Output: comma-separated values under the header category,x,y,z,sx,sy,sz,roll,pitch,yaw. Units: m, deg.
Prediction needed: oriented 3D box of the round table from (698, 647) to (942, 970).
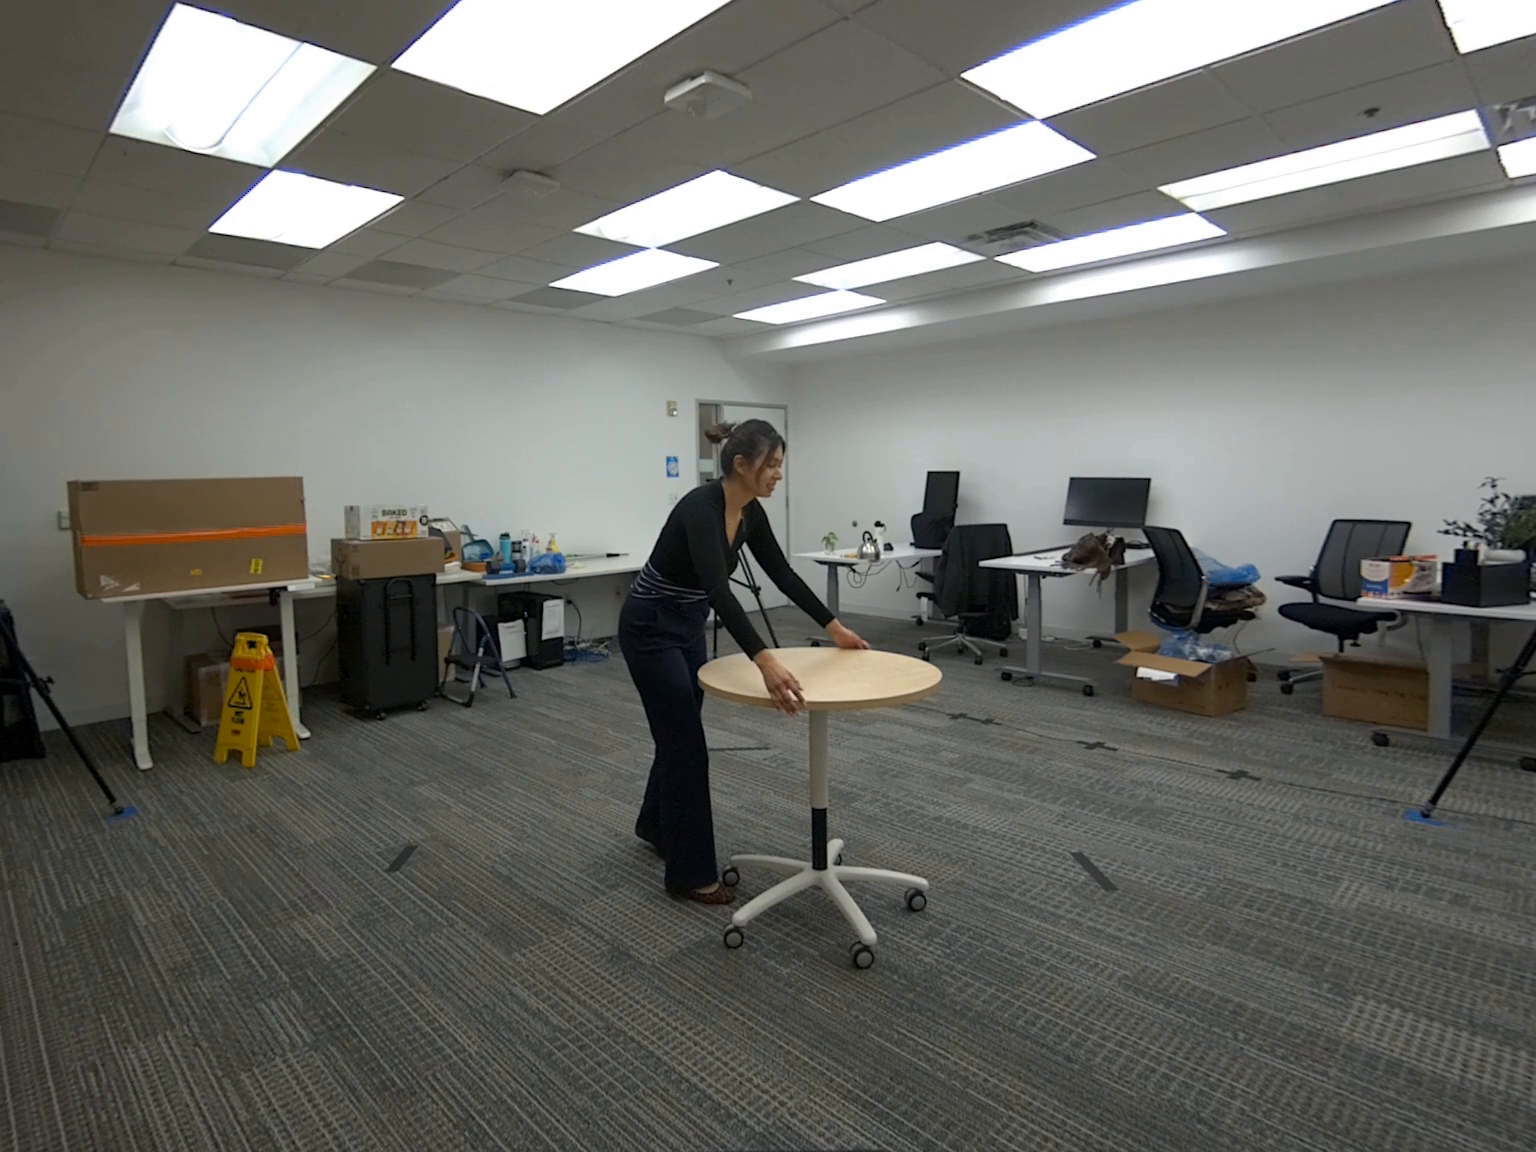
category,x,y,z,sx,sy,sz,roll,pitch,yaw
round table,0.169,0.692,2.735,0.763,0.791,0.768,-1,5,-2
